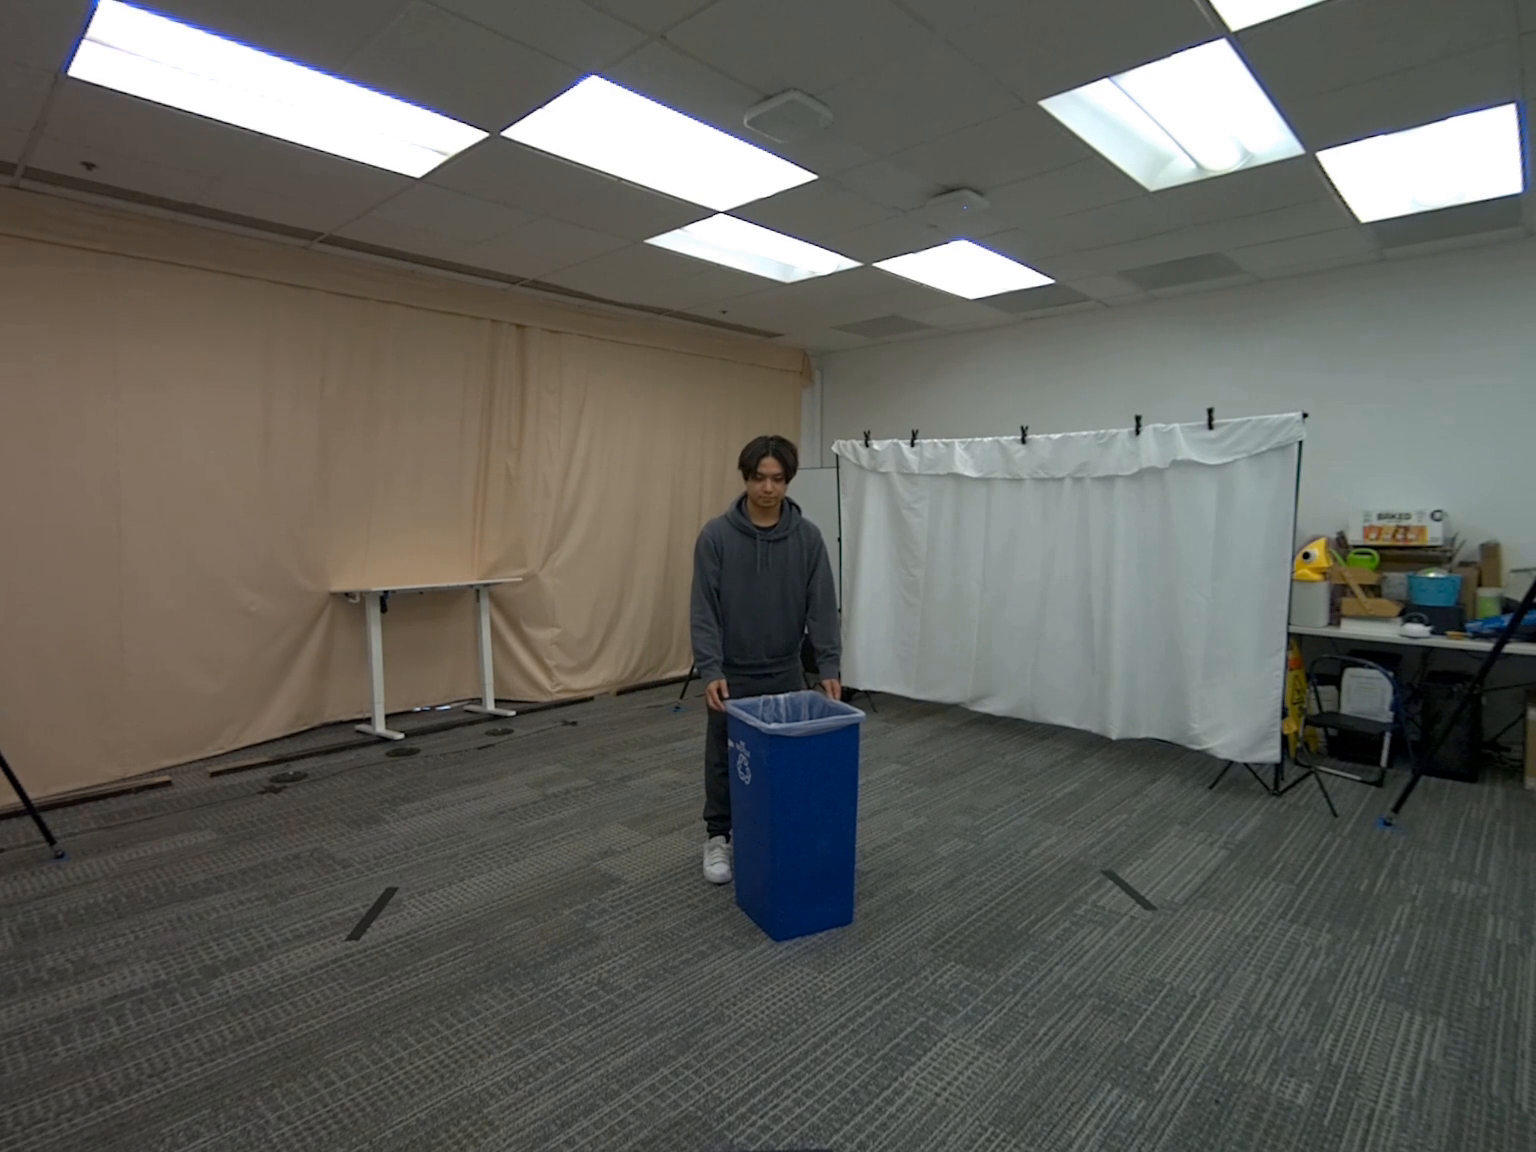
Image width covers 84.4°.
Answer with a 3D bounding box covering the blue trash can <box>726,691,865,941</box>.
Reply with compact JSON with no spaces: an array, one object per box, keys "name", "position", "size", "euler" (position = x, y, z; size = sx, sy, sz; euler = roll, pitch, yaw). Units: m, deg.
[{"name":"blue trash can","position":[0.087,0.795,2.850],"size":[0.369,0.711,0.384],"euler":[-4,5,-27]}]
